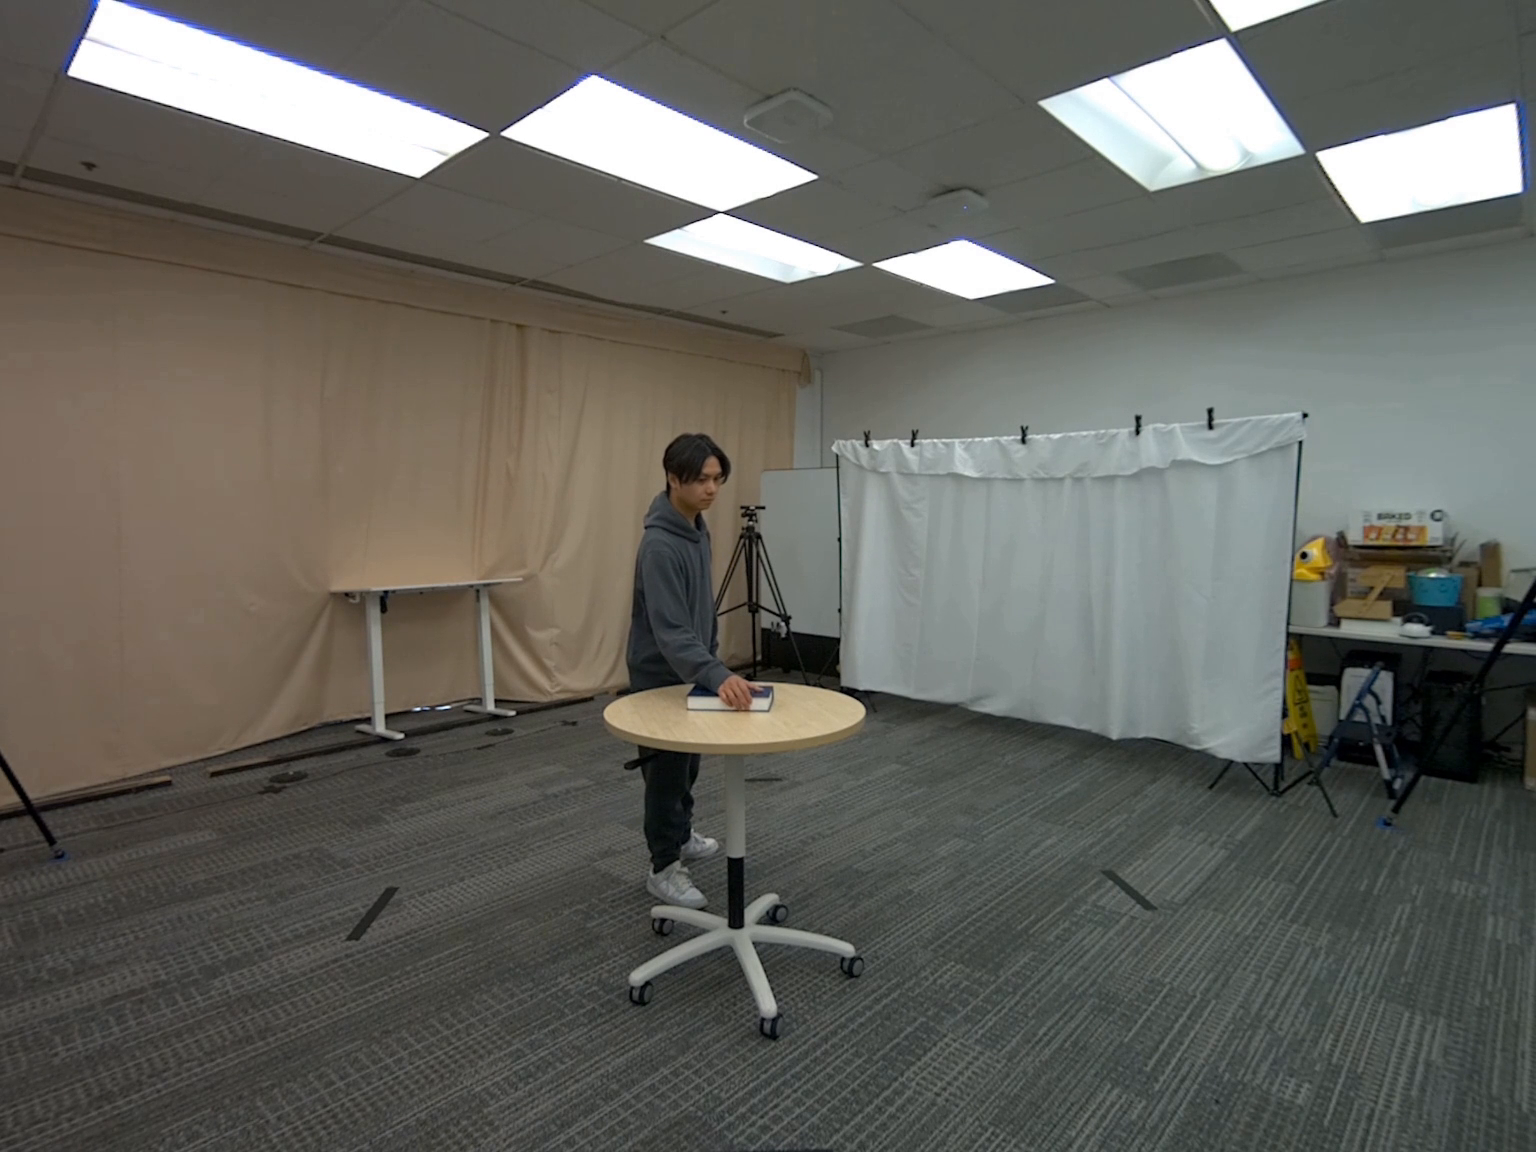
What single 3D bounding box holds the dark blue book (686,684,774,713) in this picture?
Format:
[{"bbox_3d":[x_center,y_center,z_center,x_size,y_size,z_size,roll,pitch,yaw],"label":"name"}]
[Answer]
[{"bbox_3d":[-0.100,0.366,2.527,0.247,0.045,0.162,-1,5,7],"label":"dark blue book"}]
